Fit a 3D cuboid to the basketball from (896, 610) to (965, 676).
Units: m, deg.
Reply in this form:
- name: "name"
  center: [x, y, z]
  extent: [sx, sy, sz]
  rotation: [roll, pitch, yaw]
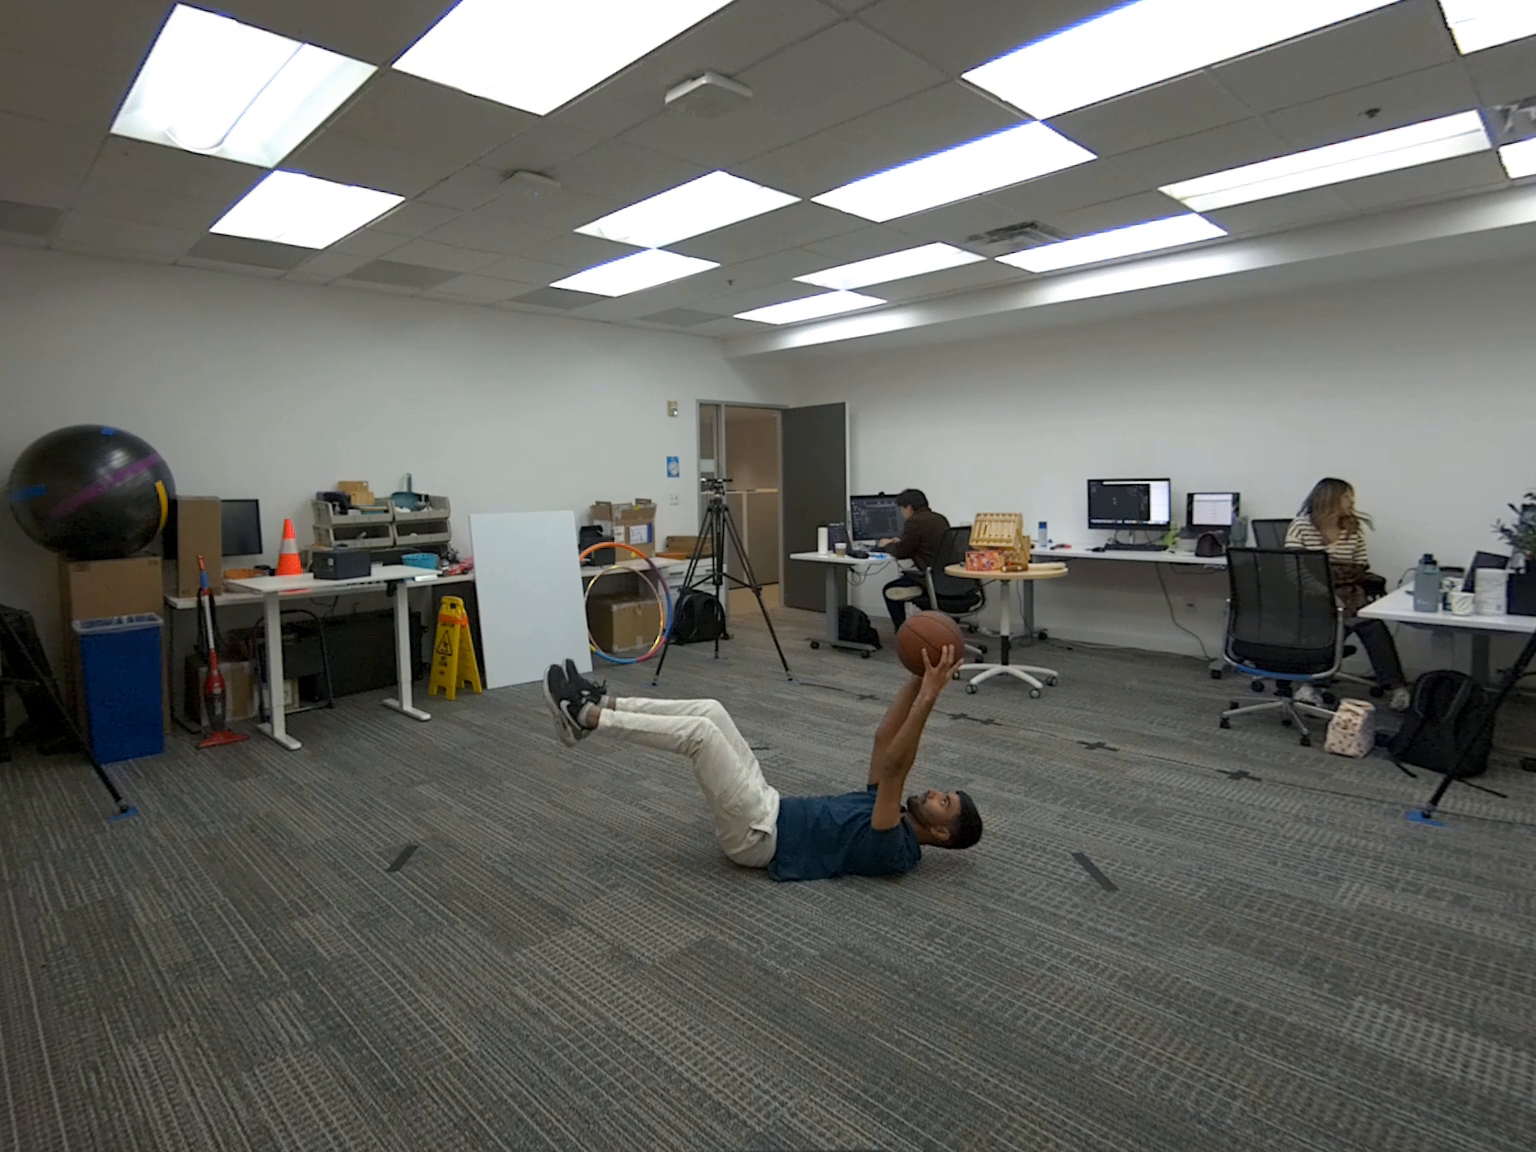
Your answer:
- name: "basketball"
  center: [0.577, 0.241, 3.049]
  extent: [0.236, 0.235, 0.237]
  rotation: [-1, 5, -2]
